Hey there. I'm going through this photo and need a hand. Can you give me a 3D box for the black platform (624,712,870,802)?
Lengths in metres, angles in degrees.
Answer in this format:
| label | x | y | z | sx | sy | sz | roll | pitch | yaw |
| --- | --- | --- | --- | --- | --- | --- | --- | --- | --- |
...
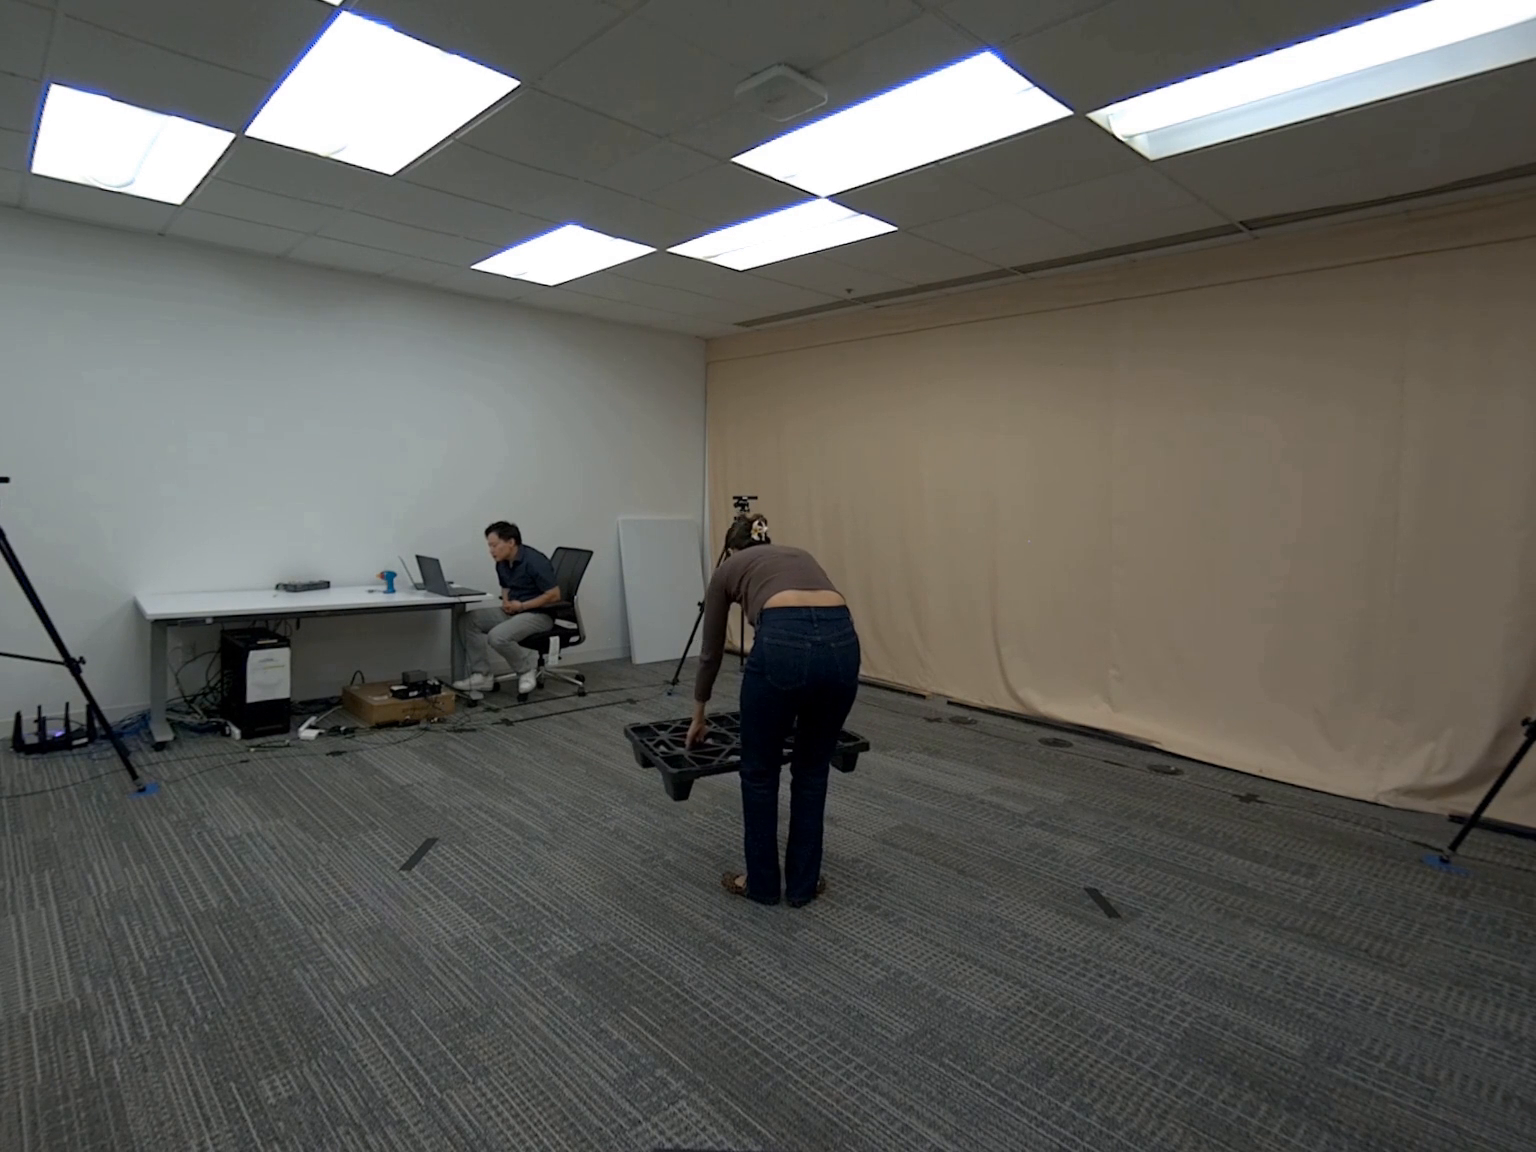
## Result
| label | x | y | z | sx | sy | sz | roll | pitch | yaw |
| --- | --- | --- | --- | --- | --- | --- | --- | --- | --- |
| black platform | -0.100 | 0.682 | 3.286 | 0.792 | 0.143 | 0.618 | -4 | 8 | -24 |
